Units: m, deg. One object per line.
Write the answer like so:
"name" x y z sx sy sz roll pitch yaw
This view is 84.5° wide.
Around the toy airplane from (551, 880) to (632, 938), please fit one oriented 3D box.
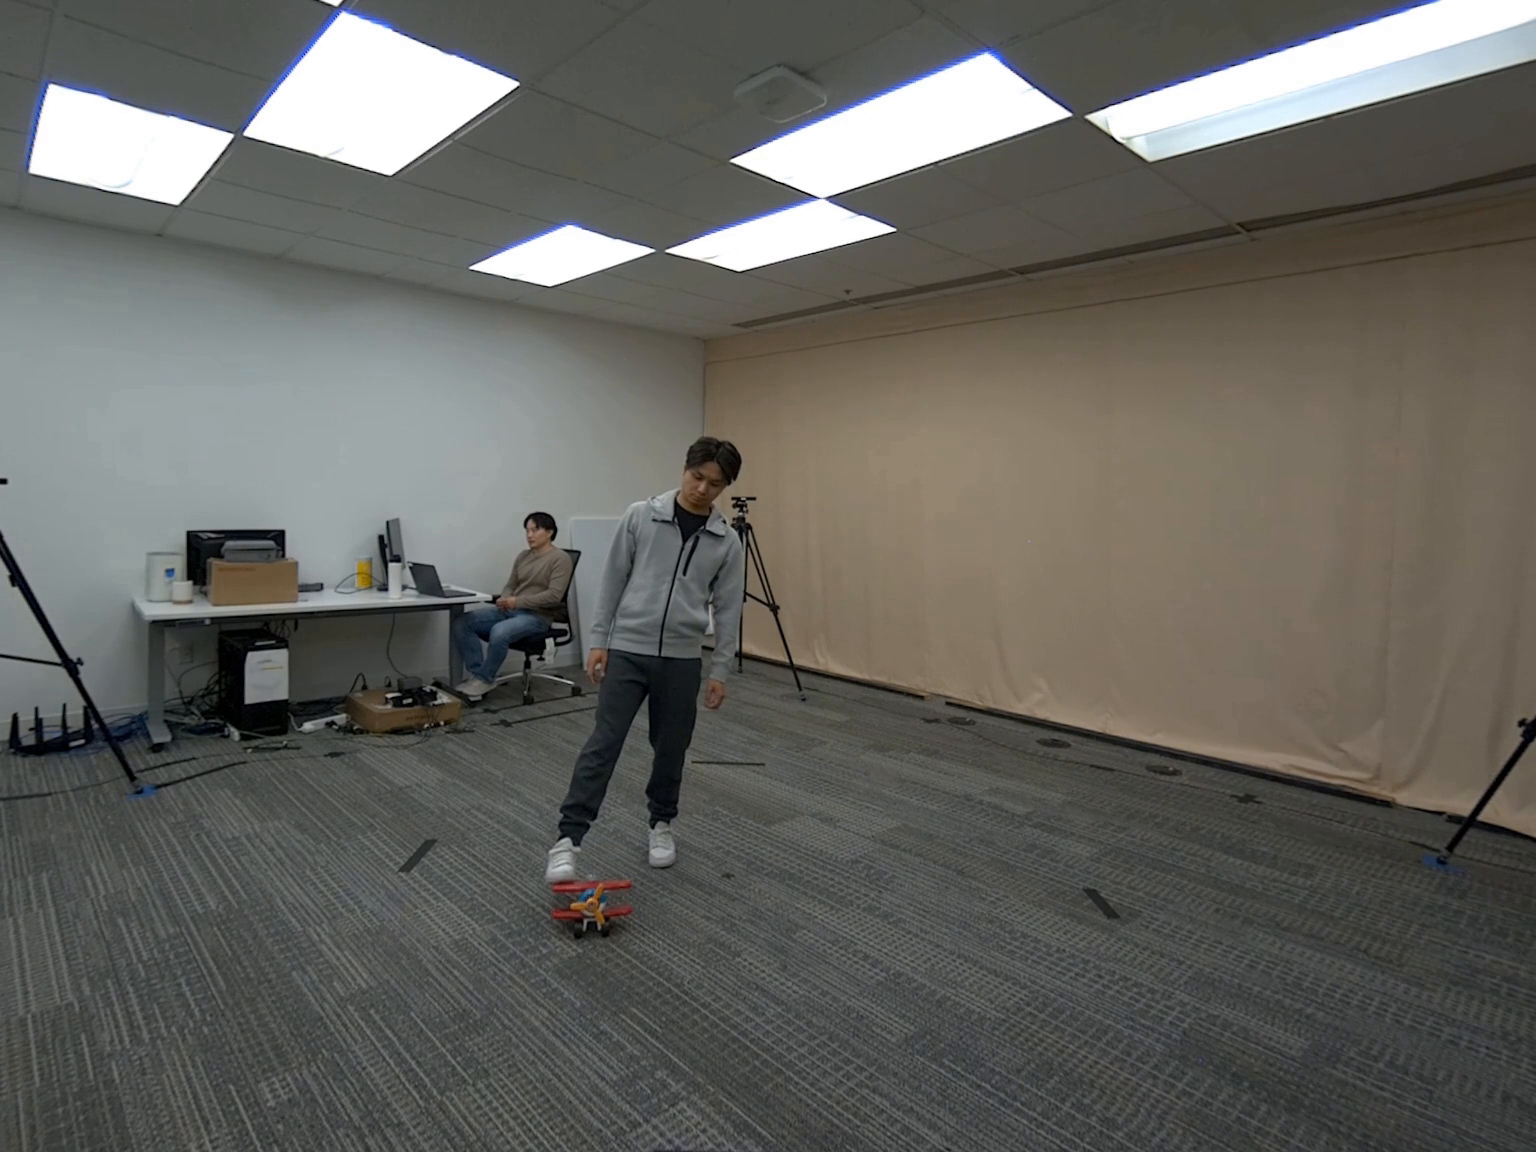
"toy airplane" -0.595 1.060 2.735 0.246 0.156 0.266 -4 8 -36
